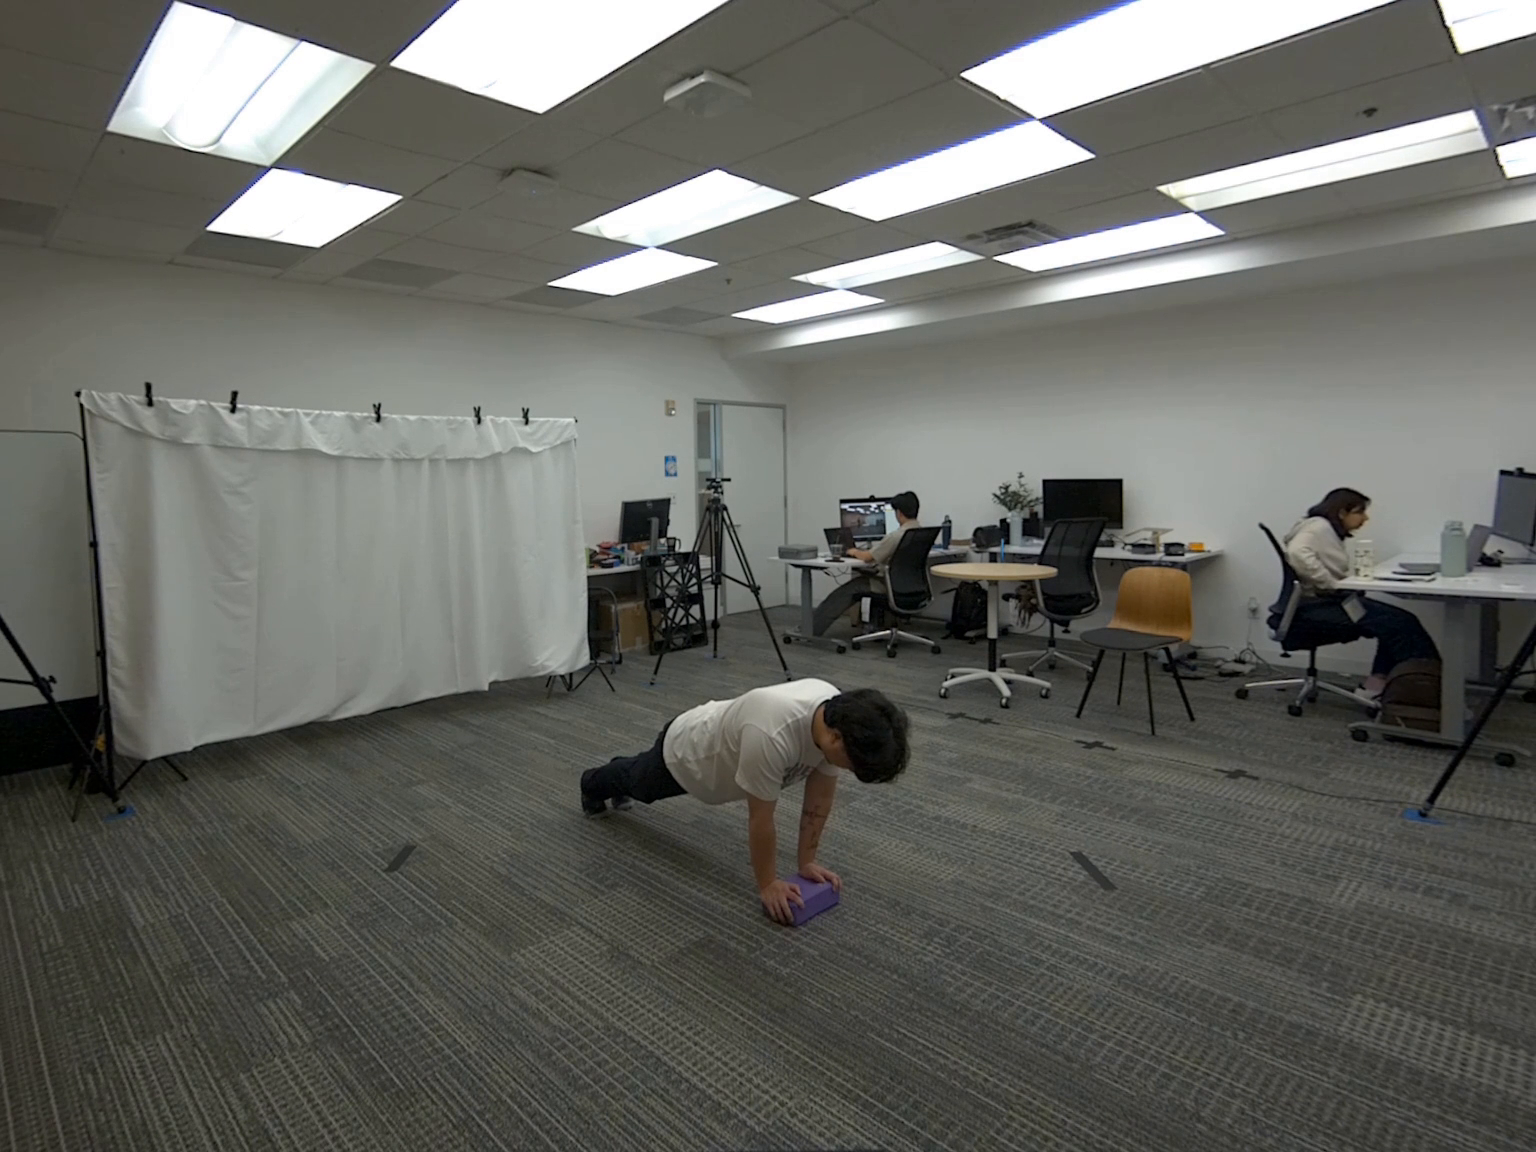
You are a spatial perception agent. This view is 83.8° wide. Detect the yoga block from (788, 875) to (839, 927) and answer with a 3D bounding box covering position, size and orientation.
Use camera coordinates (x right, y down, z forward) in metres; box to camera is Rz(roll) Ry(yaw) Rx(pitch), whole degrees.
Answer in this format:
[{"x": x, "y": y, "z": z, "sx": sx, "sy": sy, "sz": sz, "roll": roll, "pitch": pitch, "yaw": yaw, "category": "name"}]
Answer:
[{"x": 0.110, "y": 1.044, "z": 2.777, "sx": 0.153, "sy": 0.076, "sz": 0.223, "roll": 4, "pitch": 8, "yaw": 44, "category": "yoga block"}]
